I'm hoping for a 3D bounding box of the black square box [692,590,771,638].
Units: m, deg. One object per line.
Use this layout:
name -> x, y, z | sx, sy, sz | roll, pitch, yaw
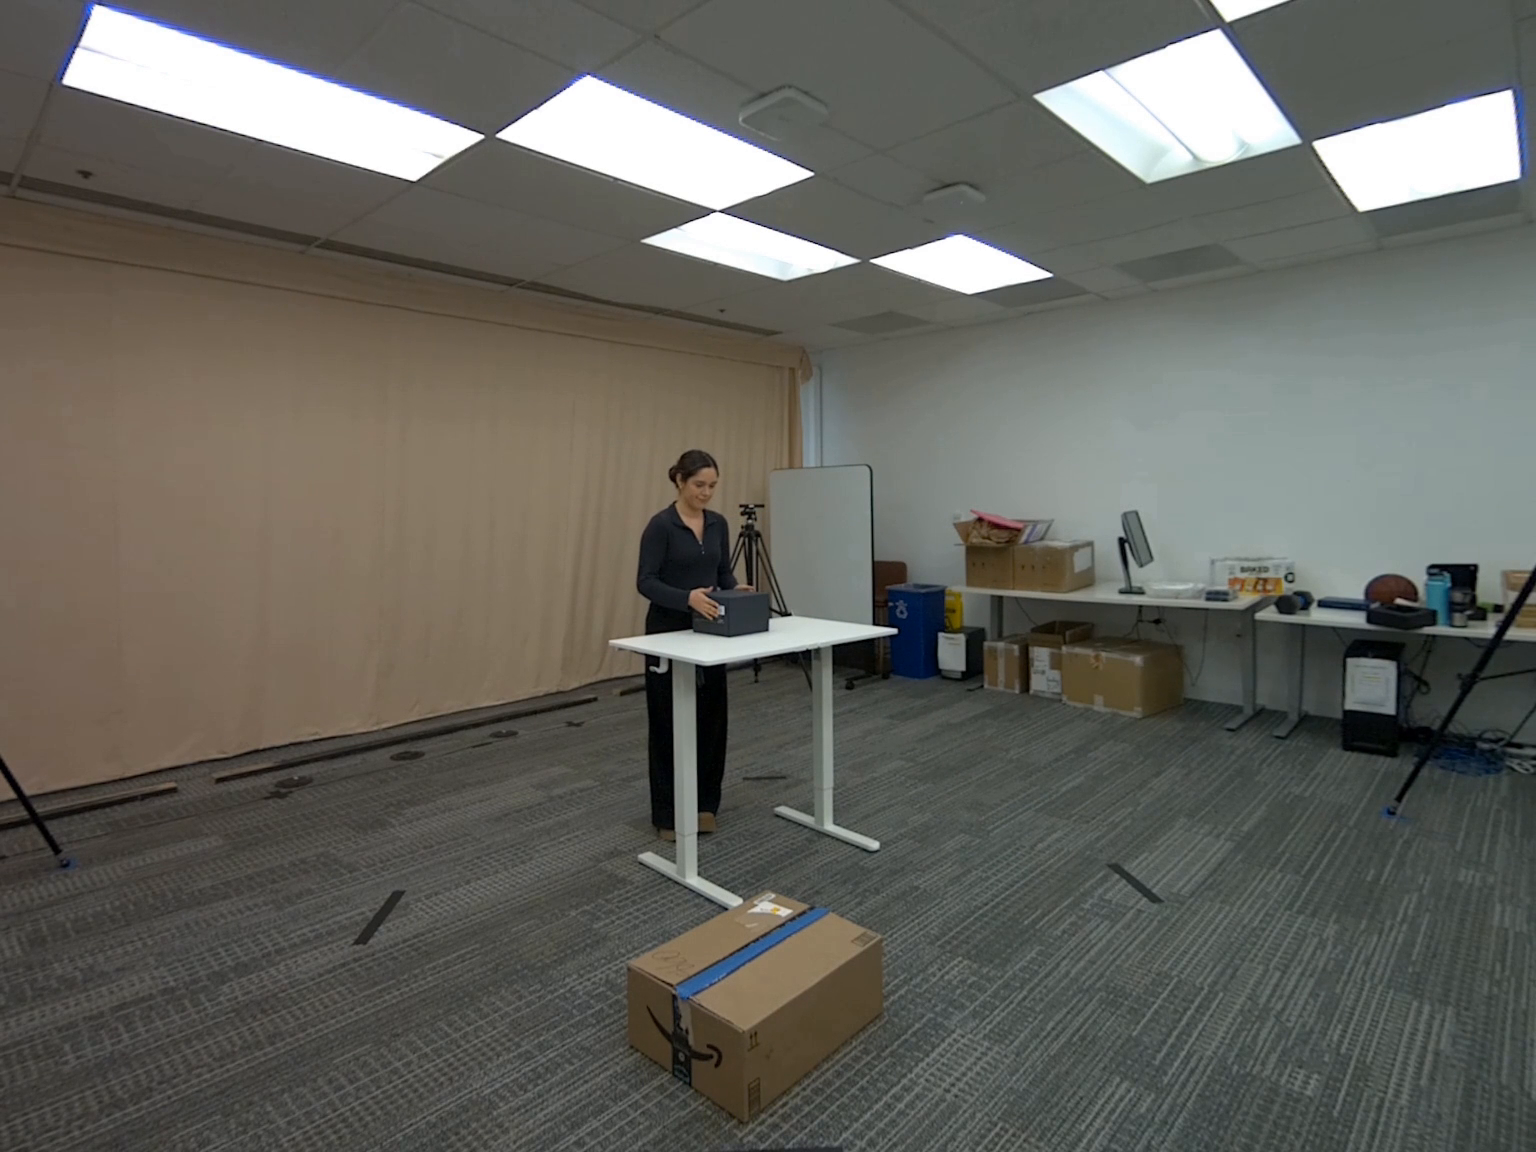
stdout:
black square box -> -0.144, 0.148, 3.393 | 0.221, 0.155, 0.224 | -4, 6, -44
